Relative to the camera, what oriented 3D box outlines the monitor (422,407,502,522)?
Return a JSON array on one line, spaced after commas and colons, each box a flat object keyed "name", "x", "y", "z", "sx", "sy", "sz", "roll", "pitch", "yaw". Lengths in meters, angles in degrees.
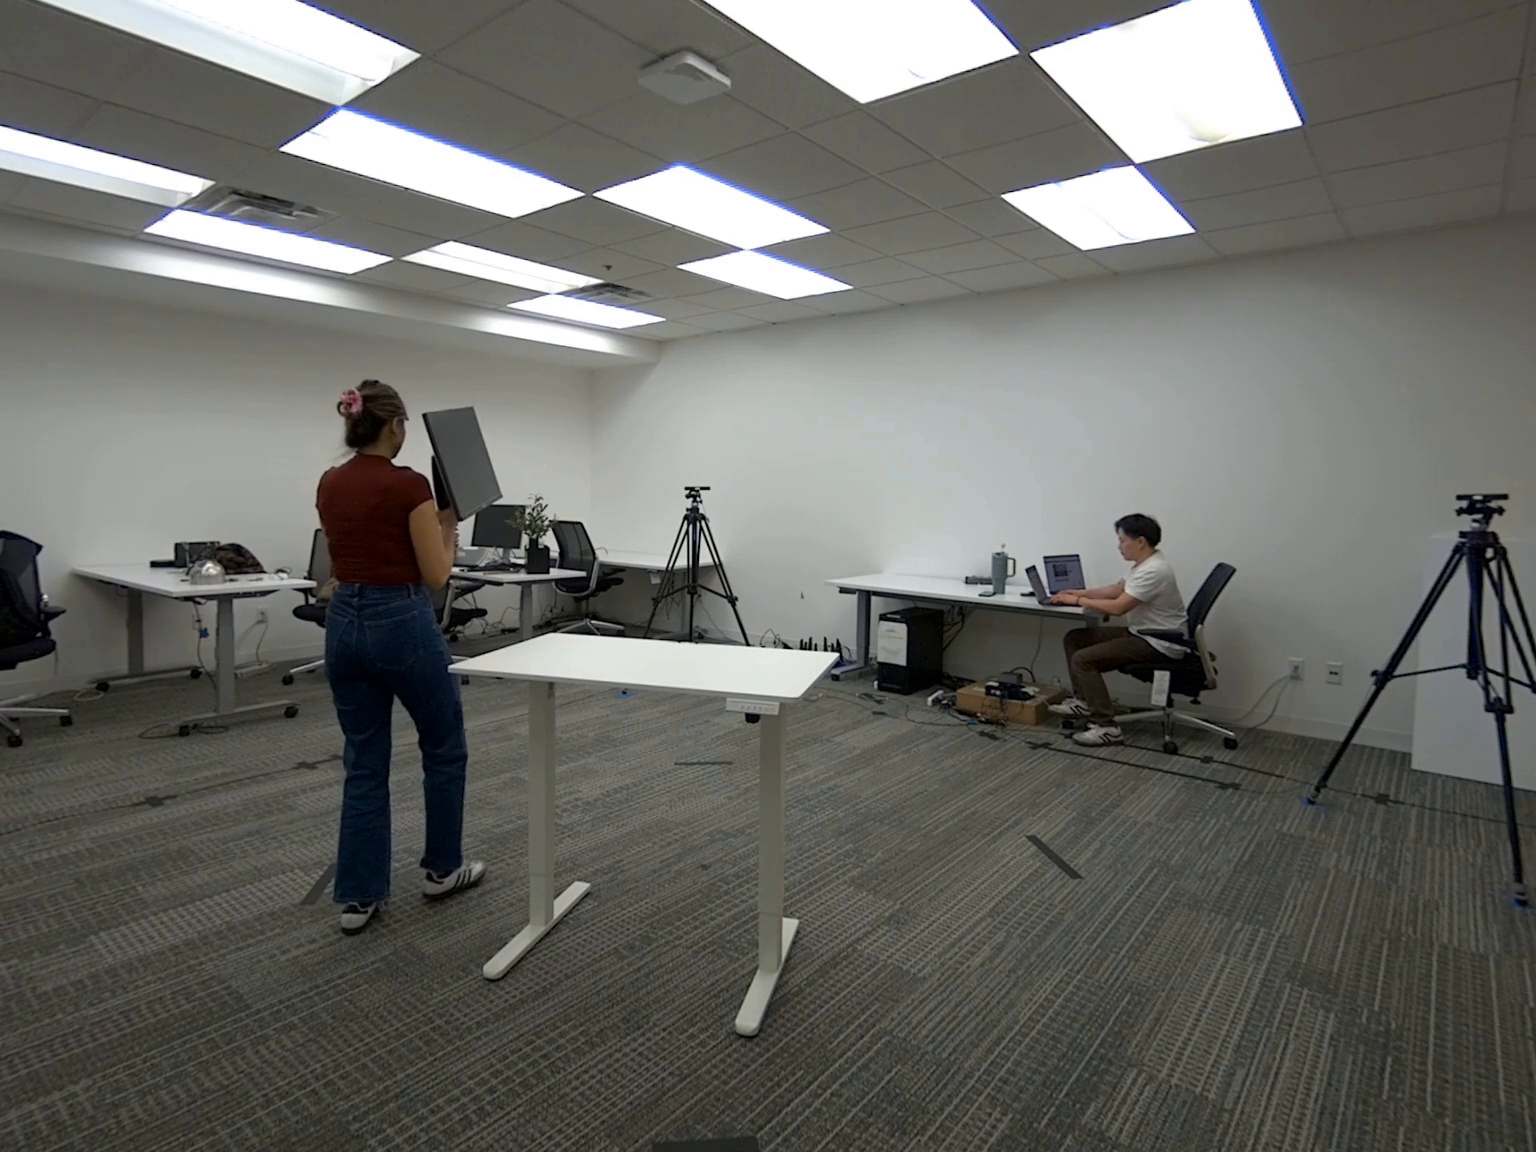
[{"name": "monitor", "x": -1.067, "y": -0.309, "z": 2.915, "sx": 0.186, "sy": 0.516, "sz": 0.547, "roll": -3, "pitch": 12, "yaw": -4}]
